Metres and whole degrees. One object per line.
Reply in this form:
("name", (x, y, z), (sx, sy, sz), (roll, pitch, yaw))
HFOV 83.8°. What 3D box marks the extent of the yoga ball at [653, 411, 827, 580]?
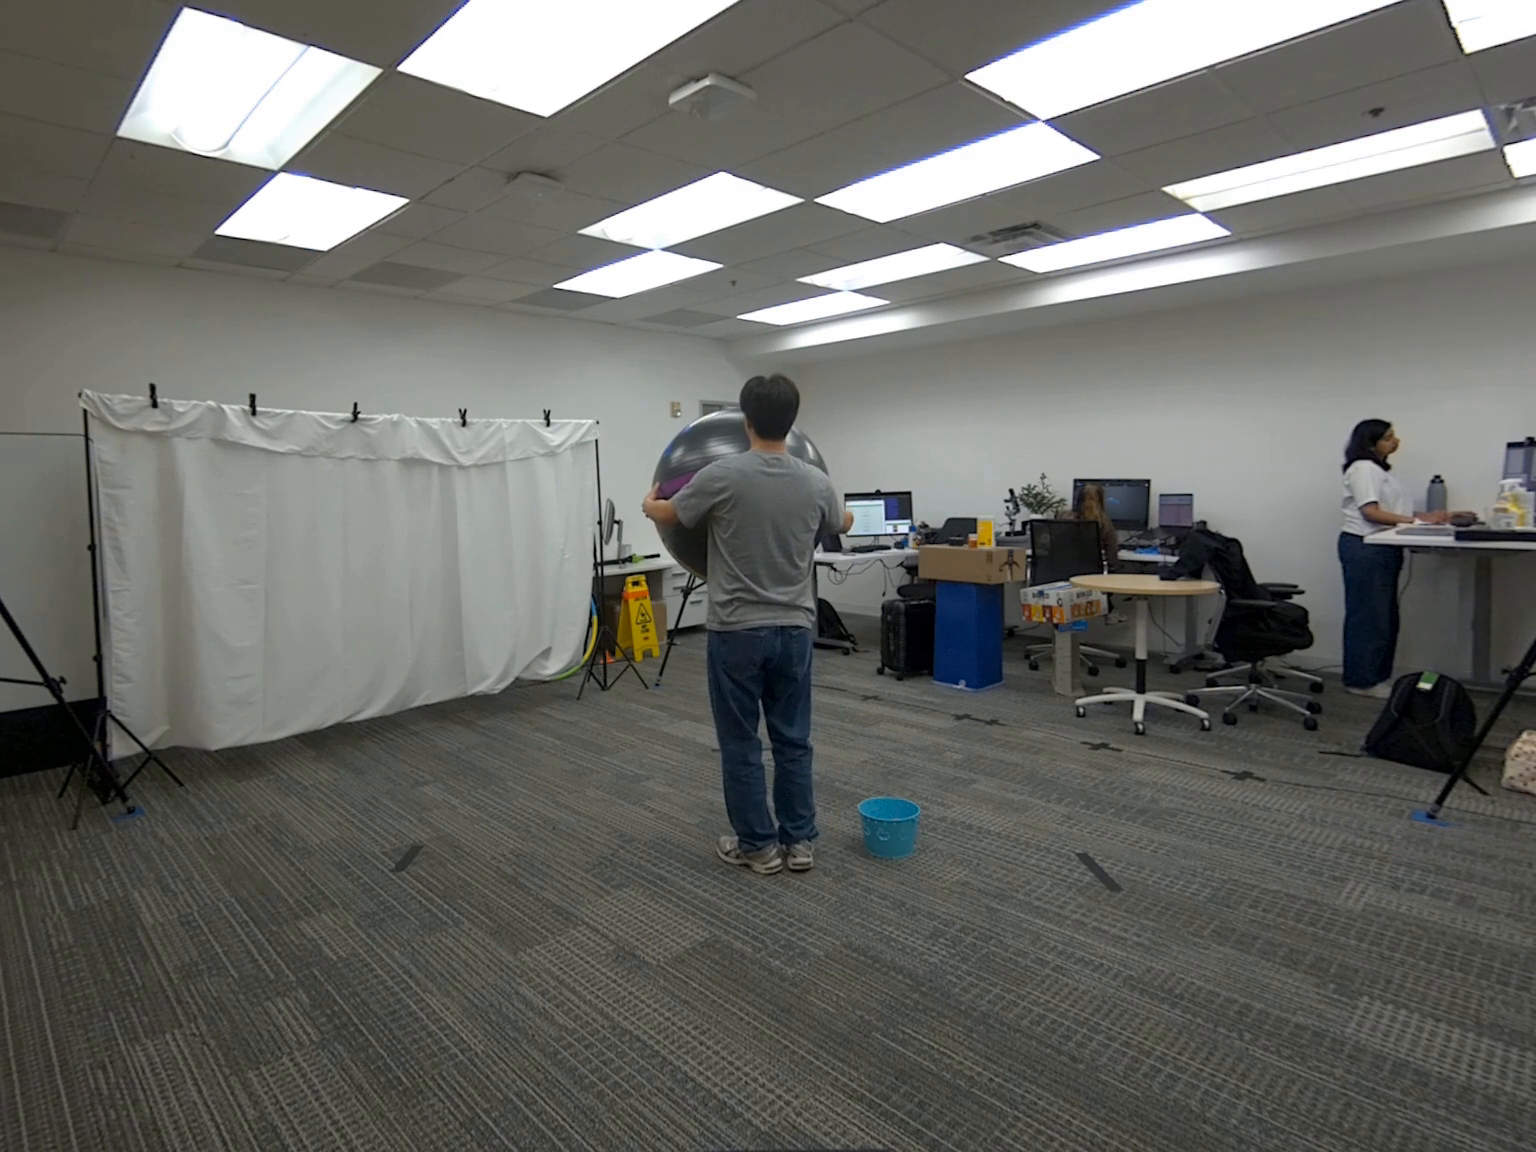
("yoga ball", (-0.121, -0.320, 3.615), (0.757, 0.755, 0.762), (-1, 5, -2))
